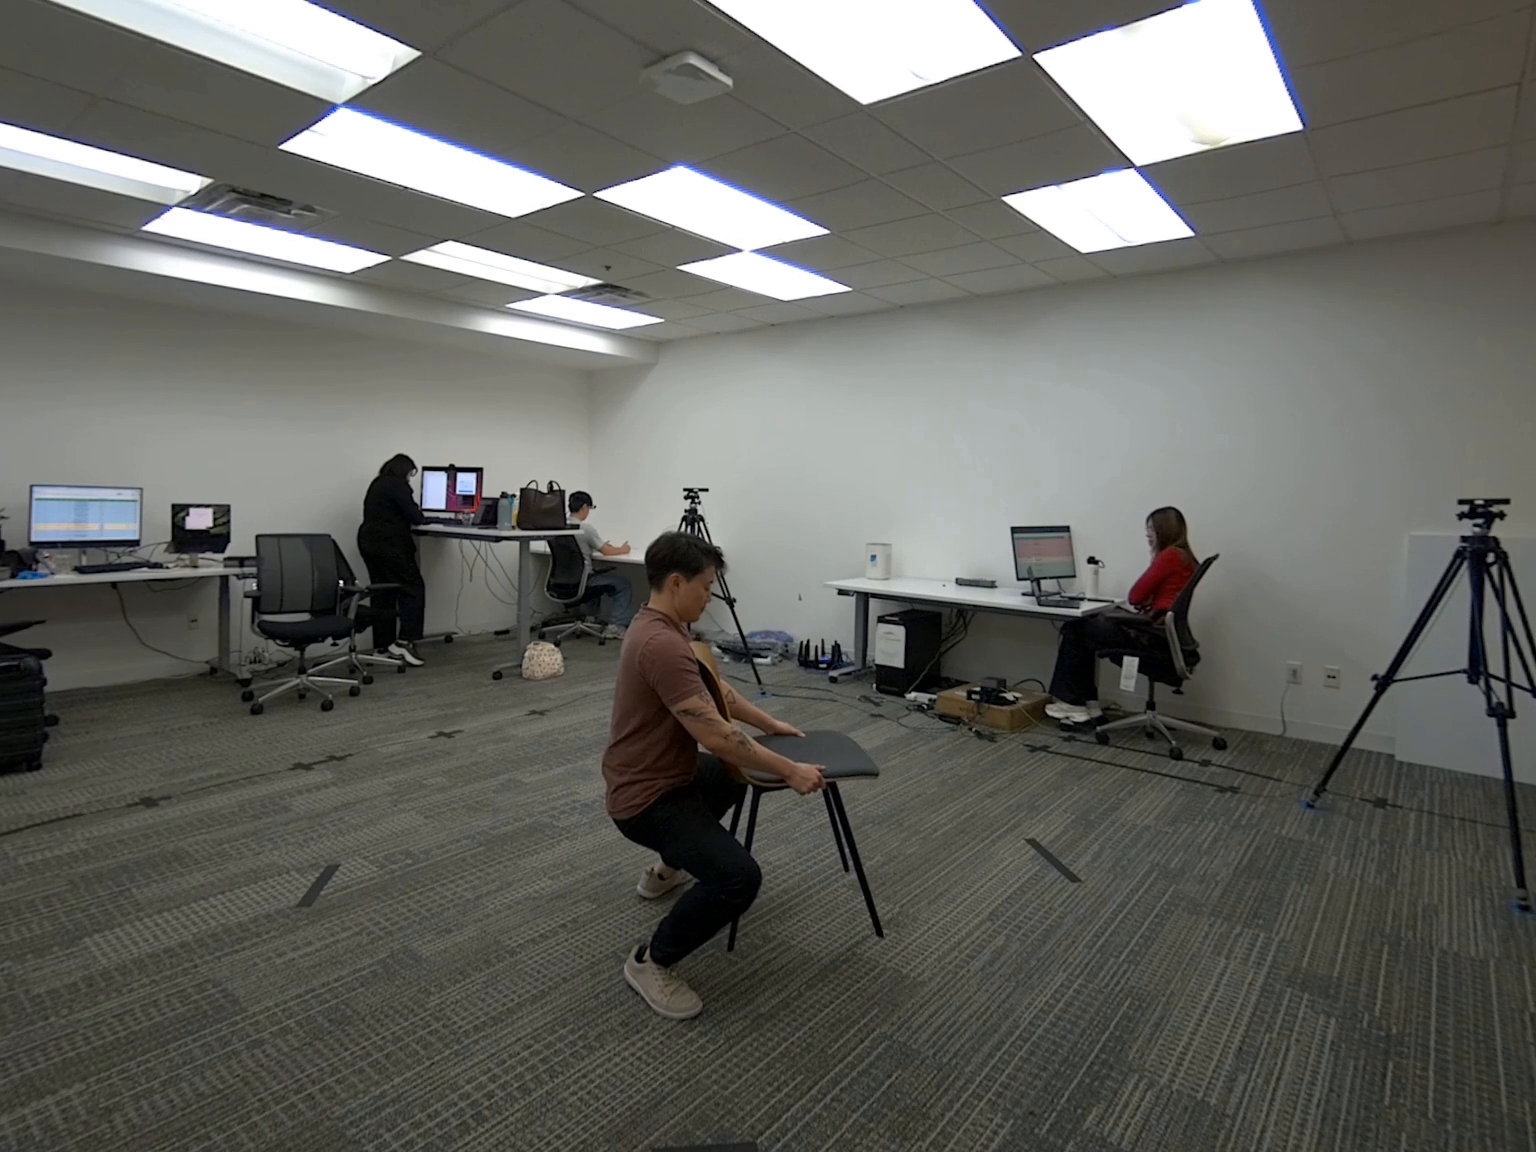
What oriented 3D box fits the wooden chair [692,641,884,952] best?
[{"bbox_3d":[0.066,0.614,2.645,0.521,0.875,0.481,-7,3,-4],"label":"wooden chair"}]
